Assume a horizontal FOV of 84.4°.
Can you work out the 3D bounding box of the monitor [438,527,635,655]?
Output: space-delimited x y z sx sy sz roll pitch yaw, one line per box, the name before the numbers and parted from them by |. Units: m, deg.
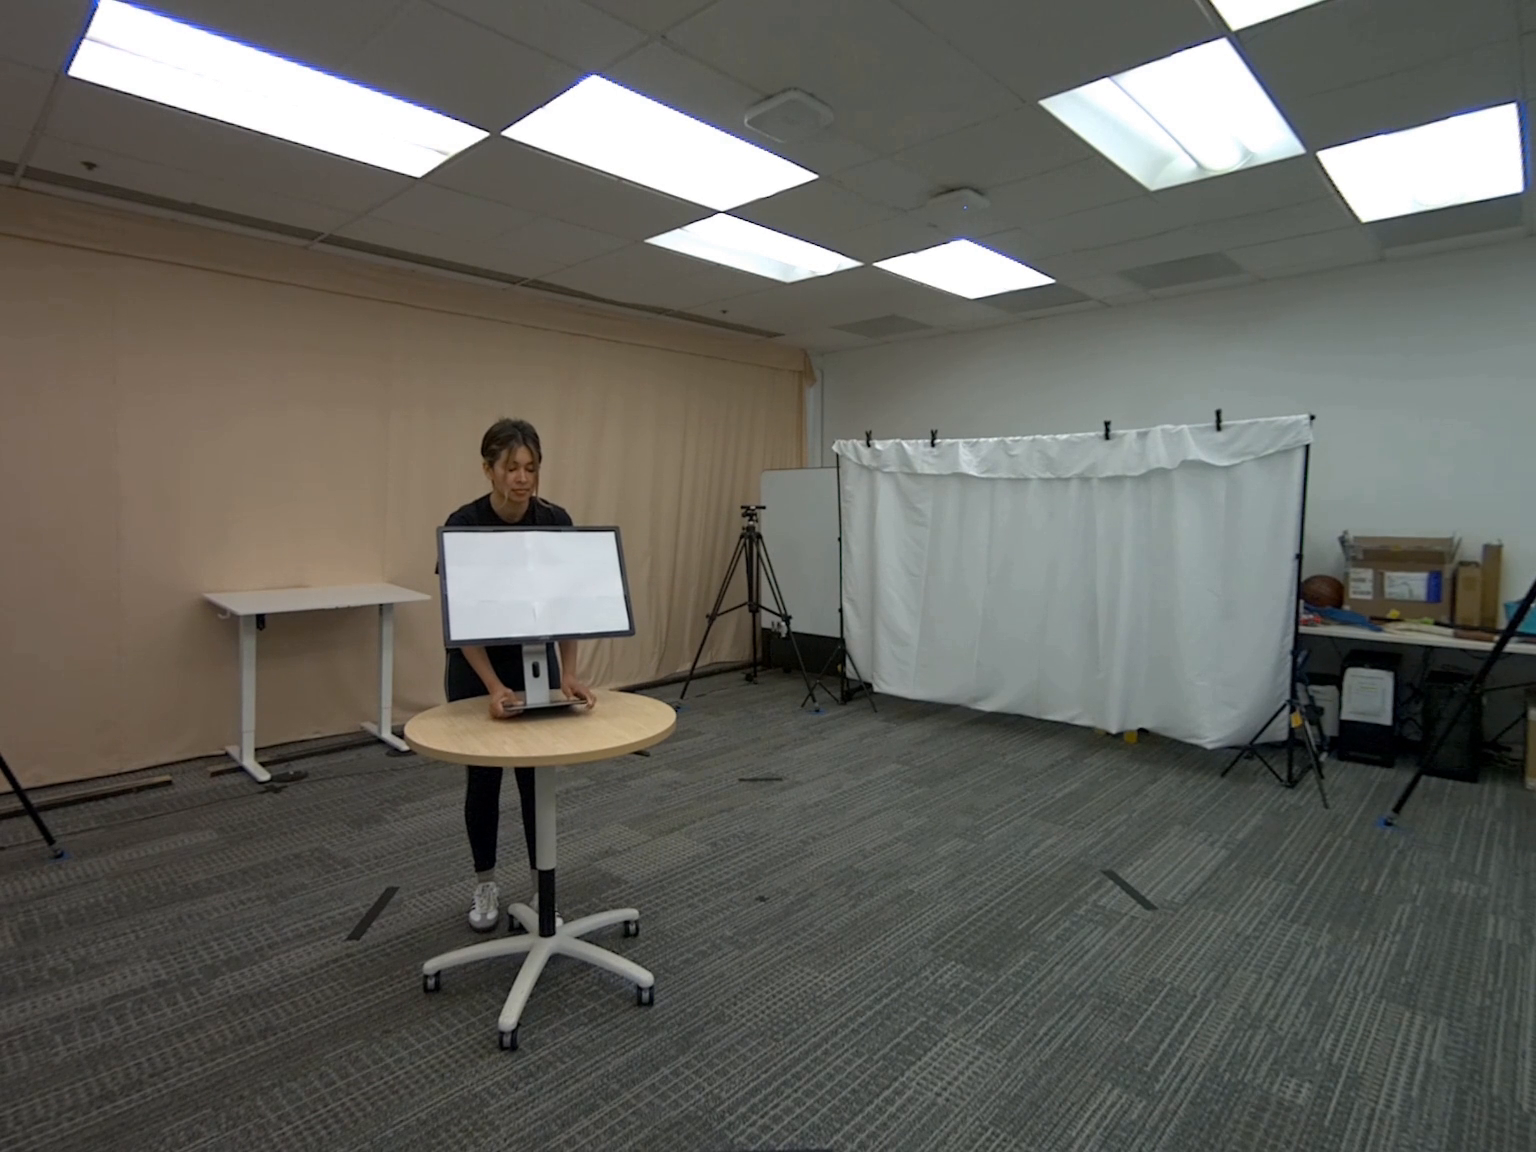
monitor | -0.689 0.121 2.524 0.525 0.525 0.191 -1 -7 -28
